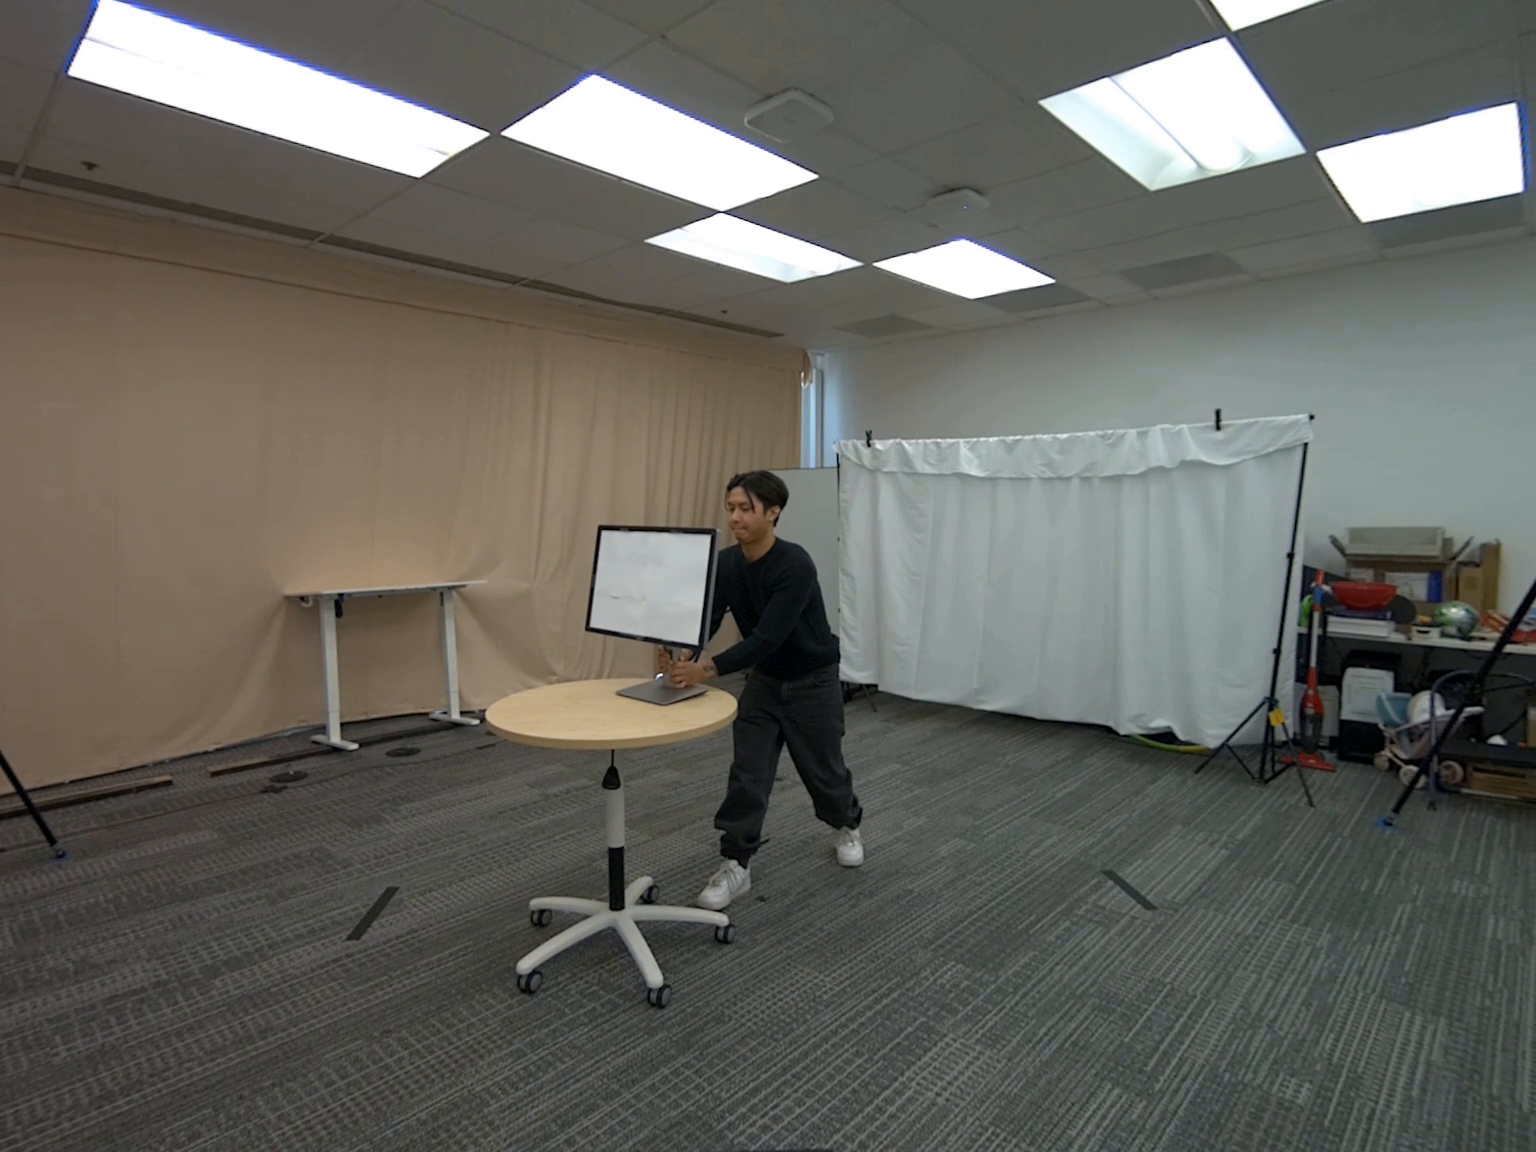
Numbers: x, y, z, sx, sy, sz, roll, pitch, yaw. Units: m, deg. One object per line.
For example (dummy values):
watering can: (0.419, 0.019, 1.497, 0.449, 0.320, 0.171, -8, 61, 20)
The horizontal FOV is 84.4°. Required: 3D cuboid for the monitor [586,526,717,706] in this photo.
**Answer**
monitor: (-0.351, 0.115, 2.700, 0.557, 0.521, 0.181, 3, 7, 40)
